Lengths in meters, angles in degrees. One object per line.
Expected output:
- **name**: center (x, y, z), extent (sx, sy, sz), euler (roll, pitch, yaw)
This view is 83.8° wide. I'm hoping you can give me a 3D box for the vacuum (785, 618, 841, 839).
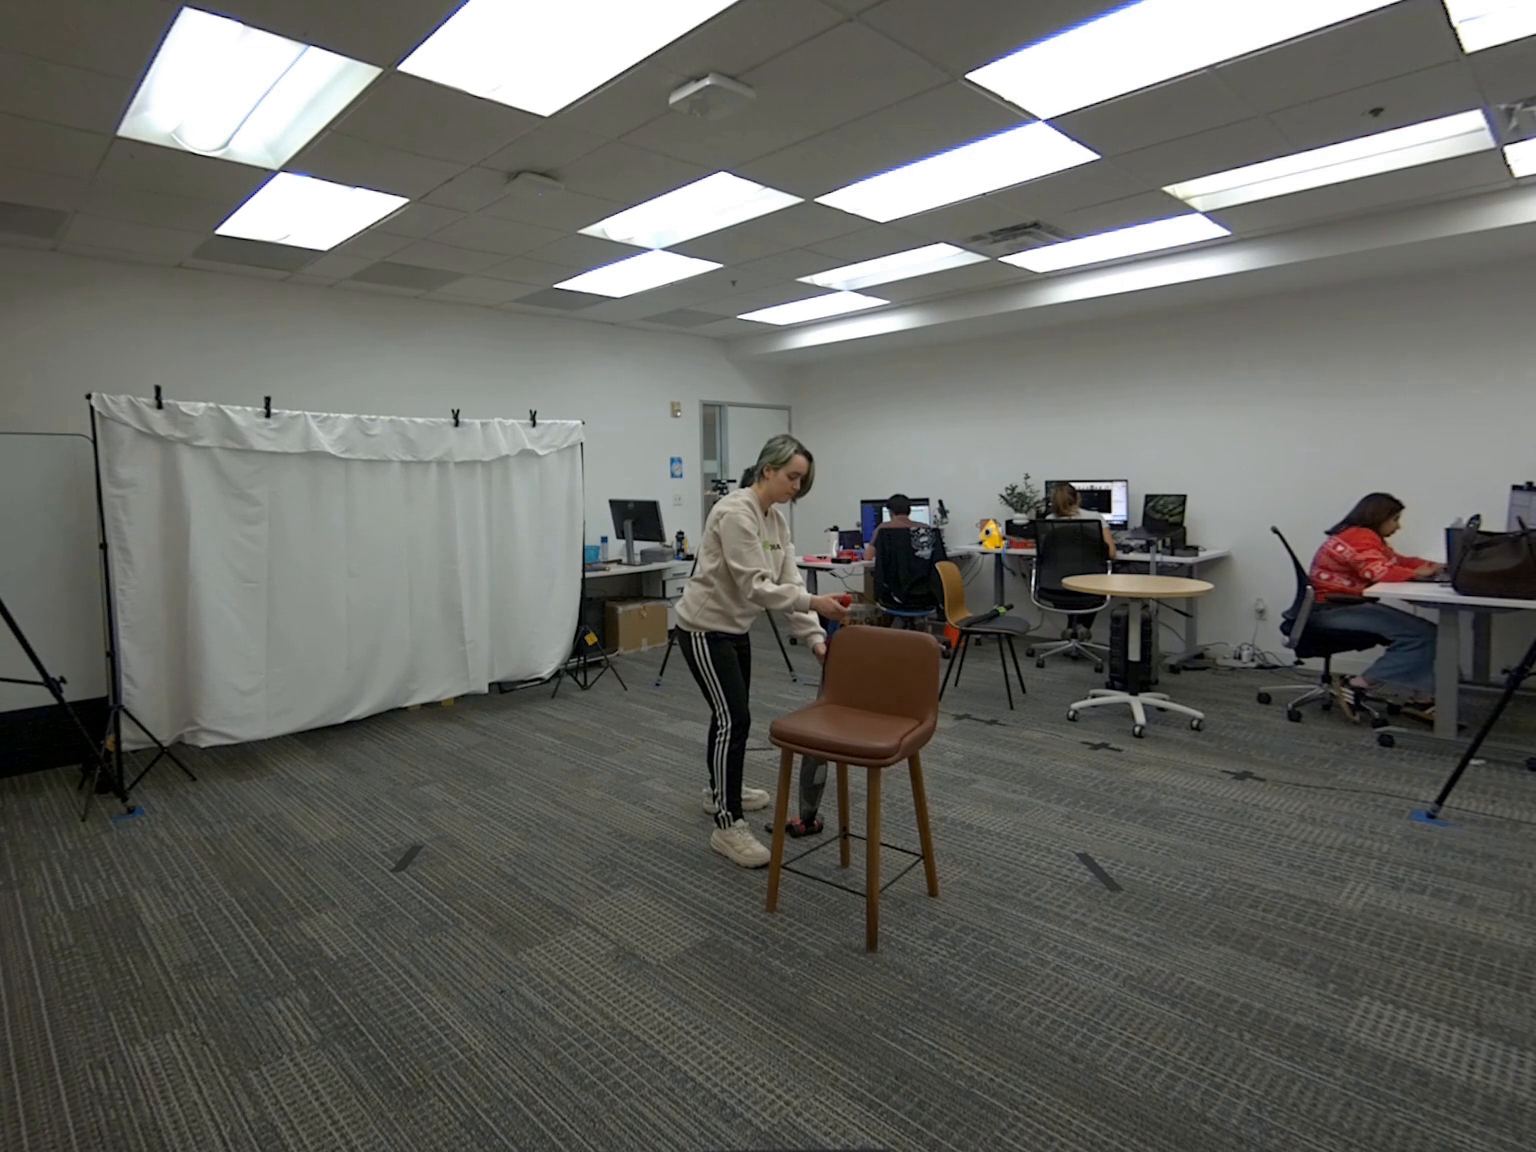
- **vacuum**: center (0.213, 0.545, 3.207), extent (0.247, 1.033, 0.149), euler (-4, 26, -30)
